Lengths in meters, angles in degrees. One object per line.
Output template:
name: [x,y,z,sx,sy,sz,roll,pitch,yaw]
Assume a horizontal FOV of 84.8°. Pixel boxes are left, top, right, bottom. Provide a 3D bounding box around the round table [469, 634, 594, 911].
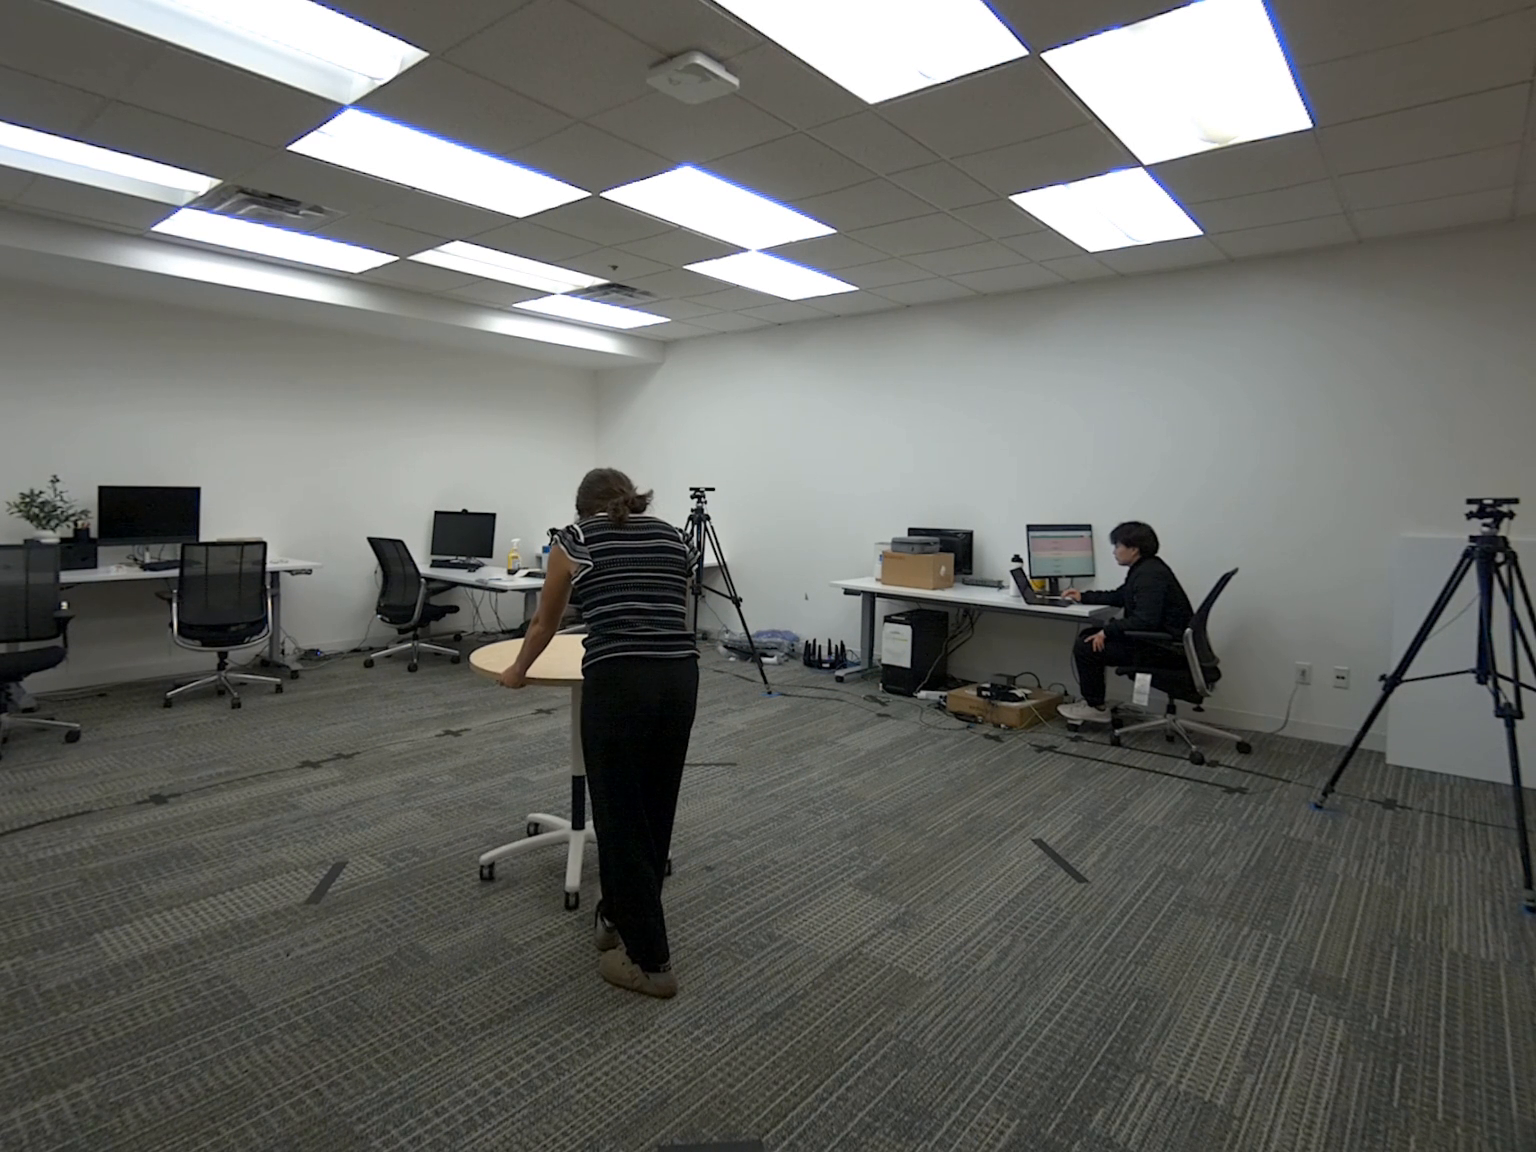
round table: [-0.700,0.671,3.100,0.763,0.791,0.768,1,4,-2]
